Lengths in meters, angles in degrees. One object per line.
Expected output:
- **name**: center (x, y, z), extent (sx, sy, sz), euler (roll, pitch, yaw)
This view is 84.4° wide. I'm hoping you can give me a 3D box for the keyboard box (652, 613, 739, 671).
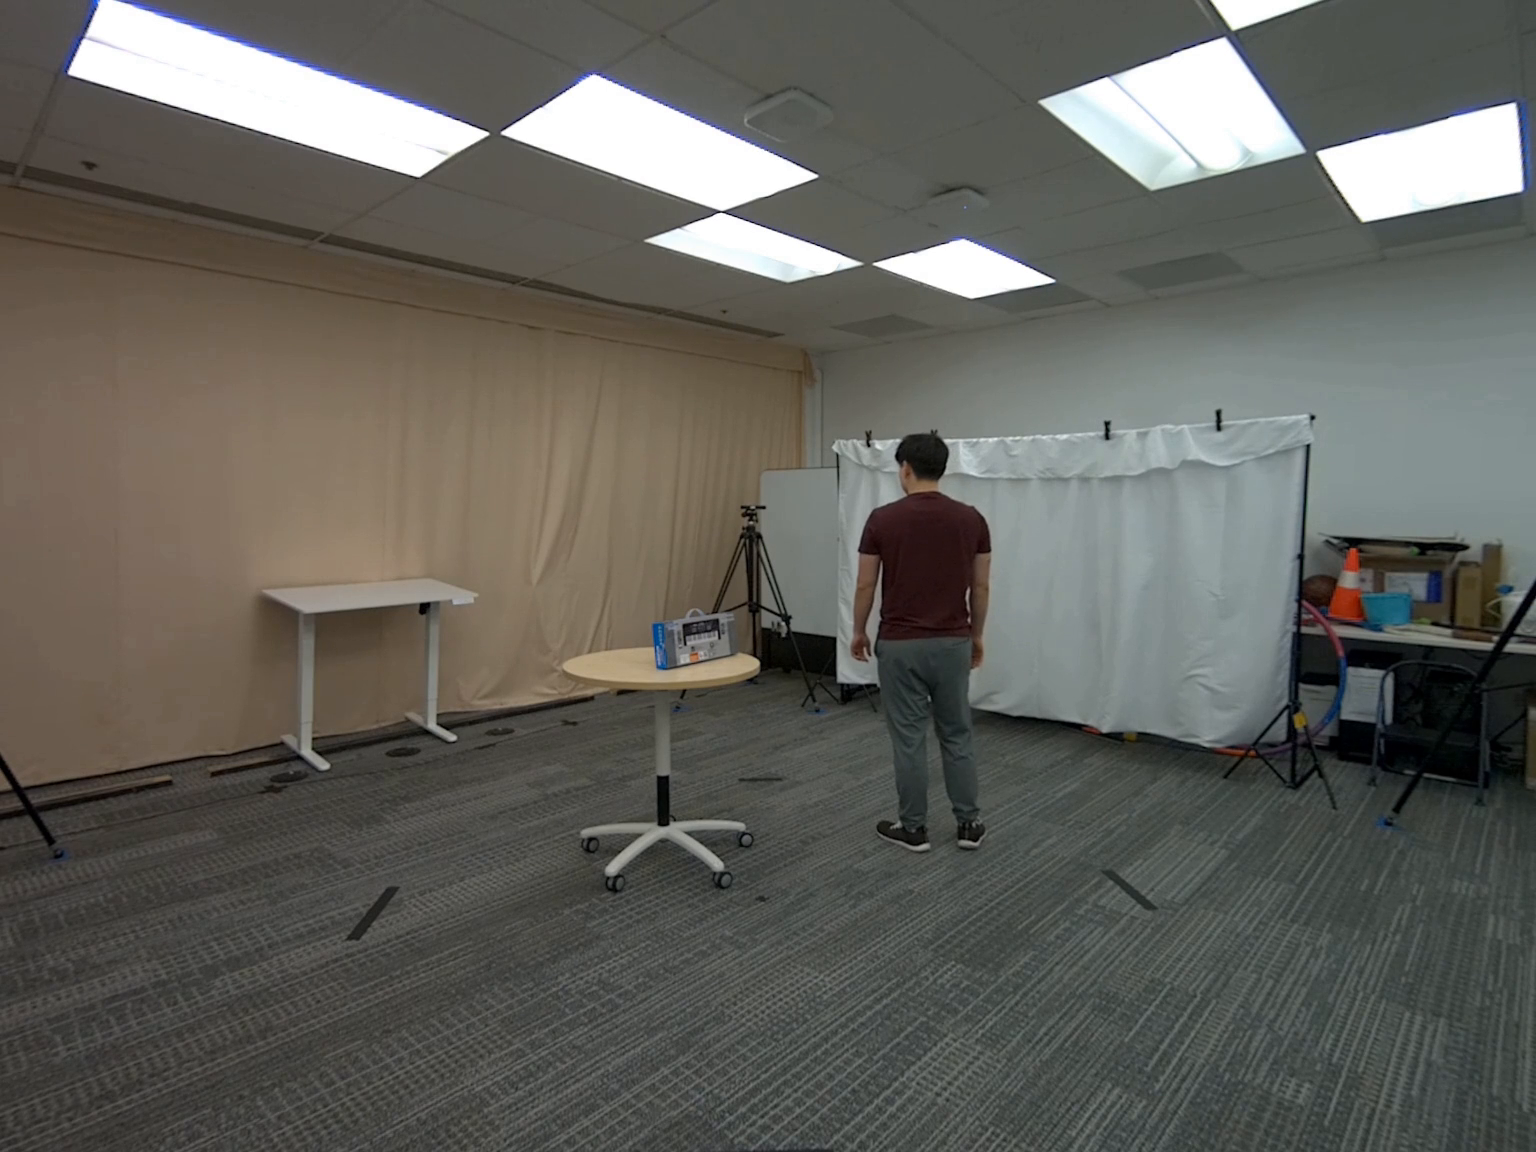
- **keyboard box**: center (-0.279, 0.251, 3.319), extent (0.061, 0.176, 0.424), euler (-7, -1, 37)
